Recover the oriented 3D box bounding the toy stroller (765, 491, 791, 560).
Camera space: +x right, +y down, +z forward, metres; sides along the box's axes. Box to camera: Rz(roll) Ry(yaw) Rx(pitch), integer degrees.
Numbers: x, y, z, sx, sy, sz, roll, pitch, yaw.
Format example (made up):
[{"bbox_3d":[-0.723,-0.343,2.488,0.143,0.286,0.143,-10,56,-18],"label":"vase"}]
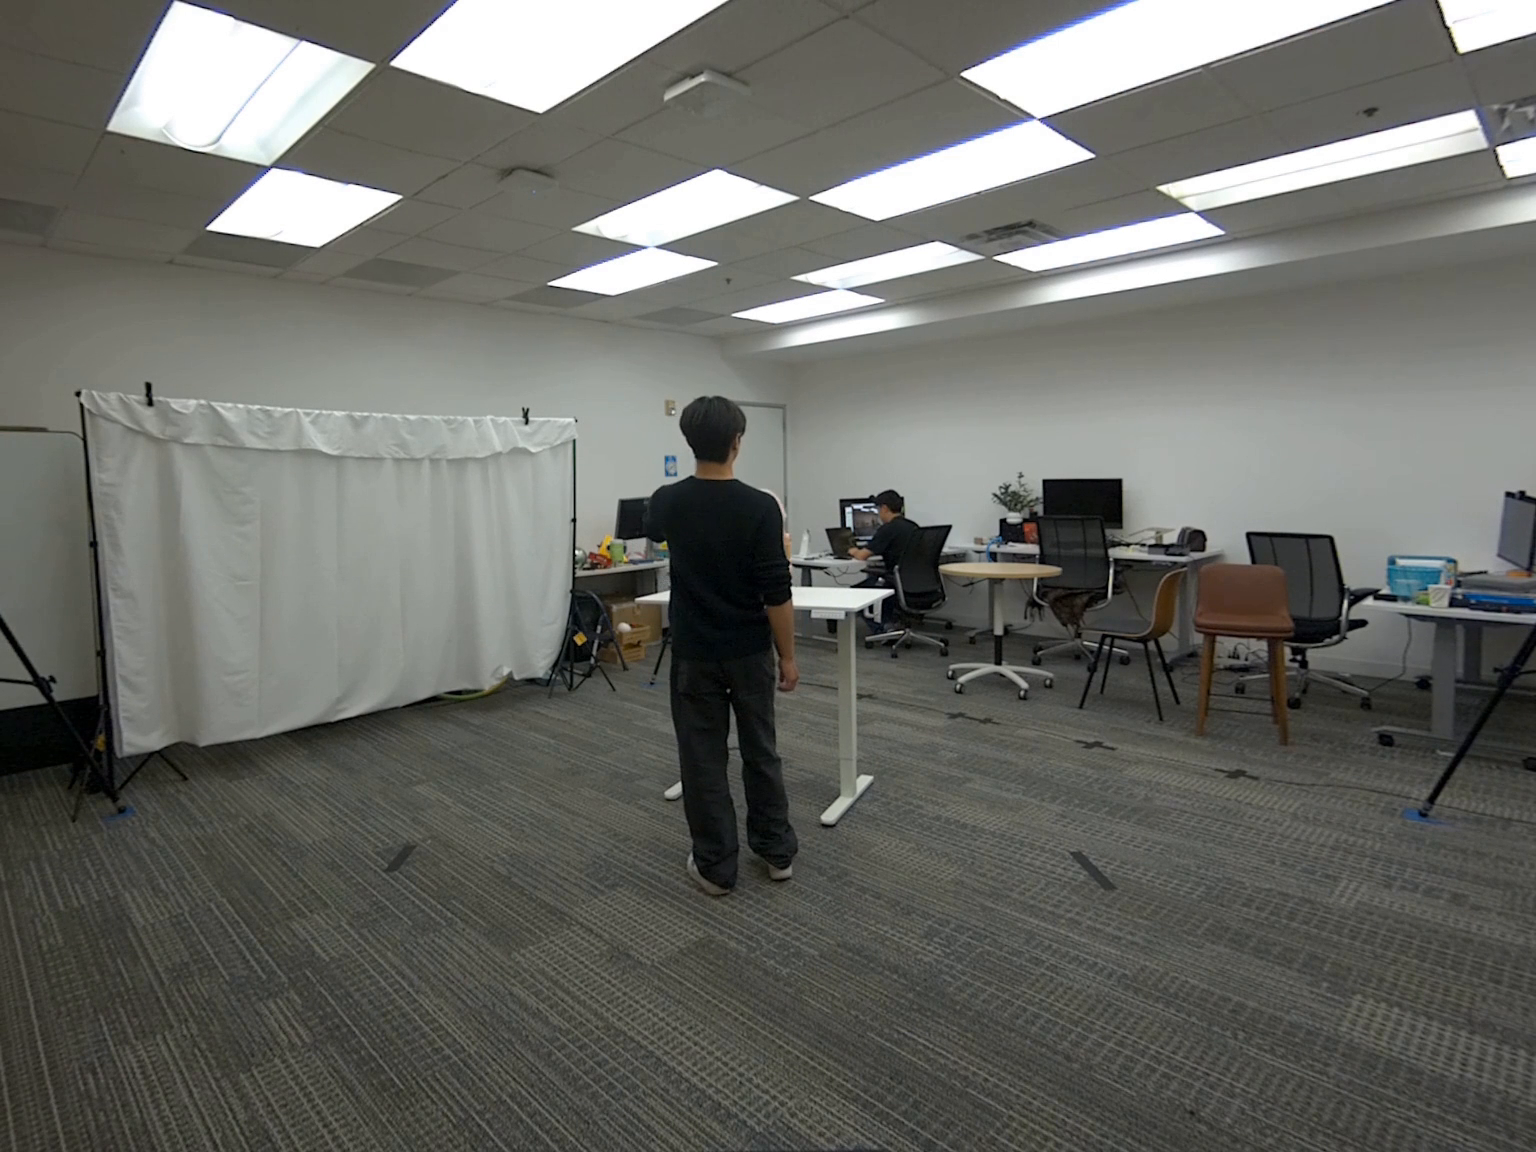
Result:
[{"bbox_3d":[-0.020,-0.139,3.750,0.288,0.526,0.339,1,18,25],"label":"toy stroller"}]
